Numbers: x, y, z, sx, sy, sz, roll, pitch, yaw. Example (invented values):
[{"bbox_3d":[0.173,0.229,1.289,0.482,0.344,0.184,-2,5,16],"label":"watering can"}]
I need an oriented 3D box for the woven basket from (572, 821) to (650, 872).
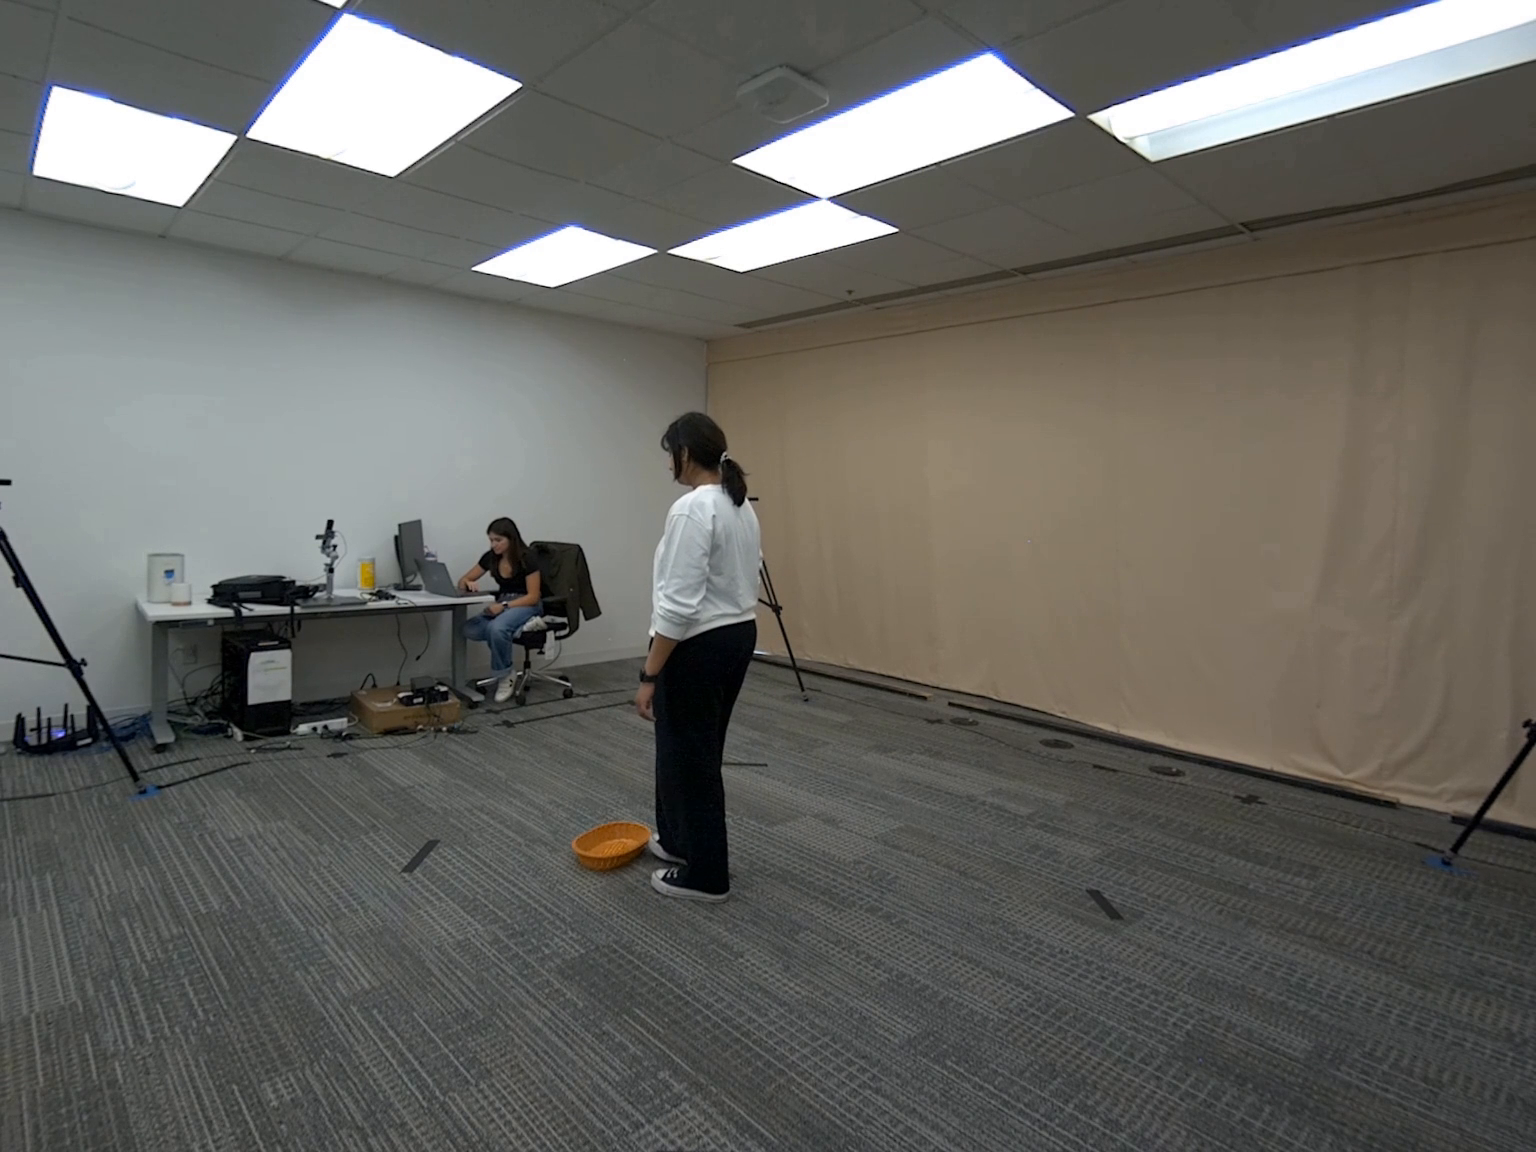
[{"bbox_3d":[-0.606,1.041,3.250,0.258,0.073,0.343,4,6,31],"label":"woven basket"}]
